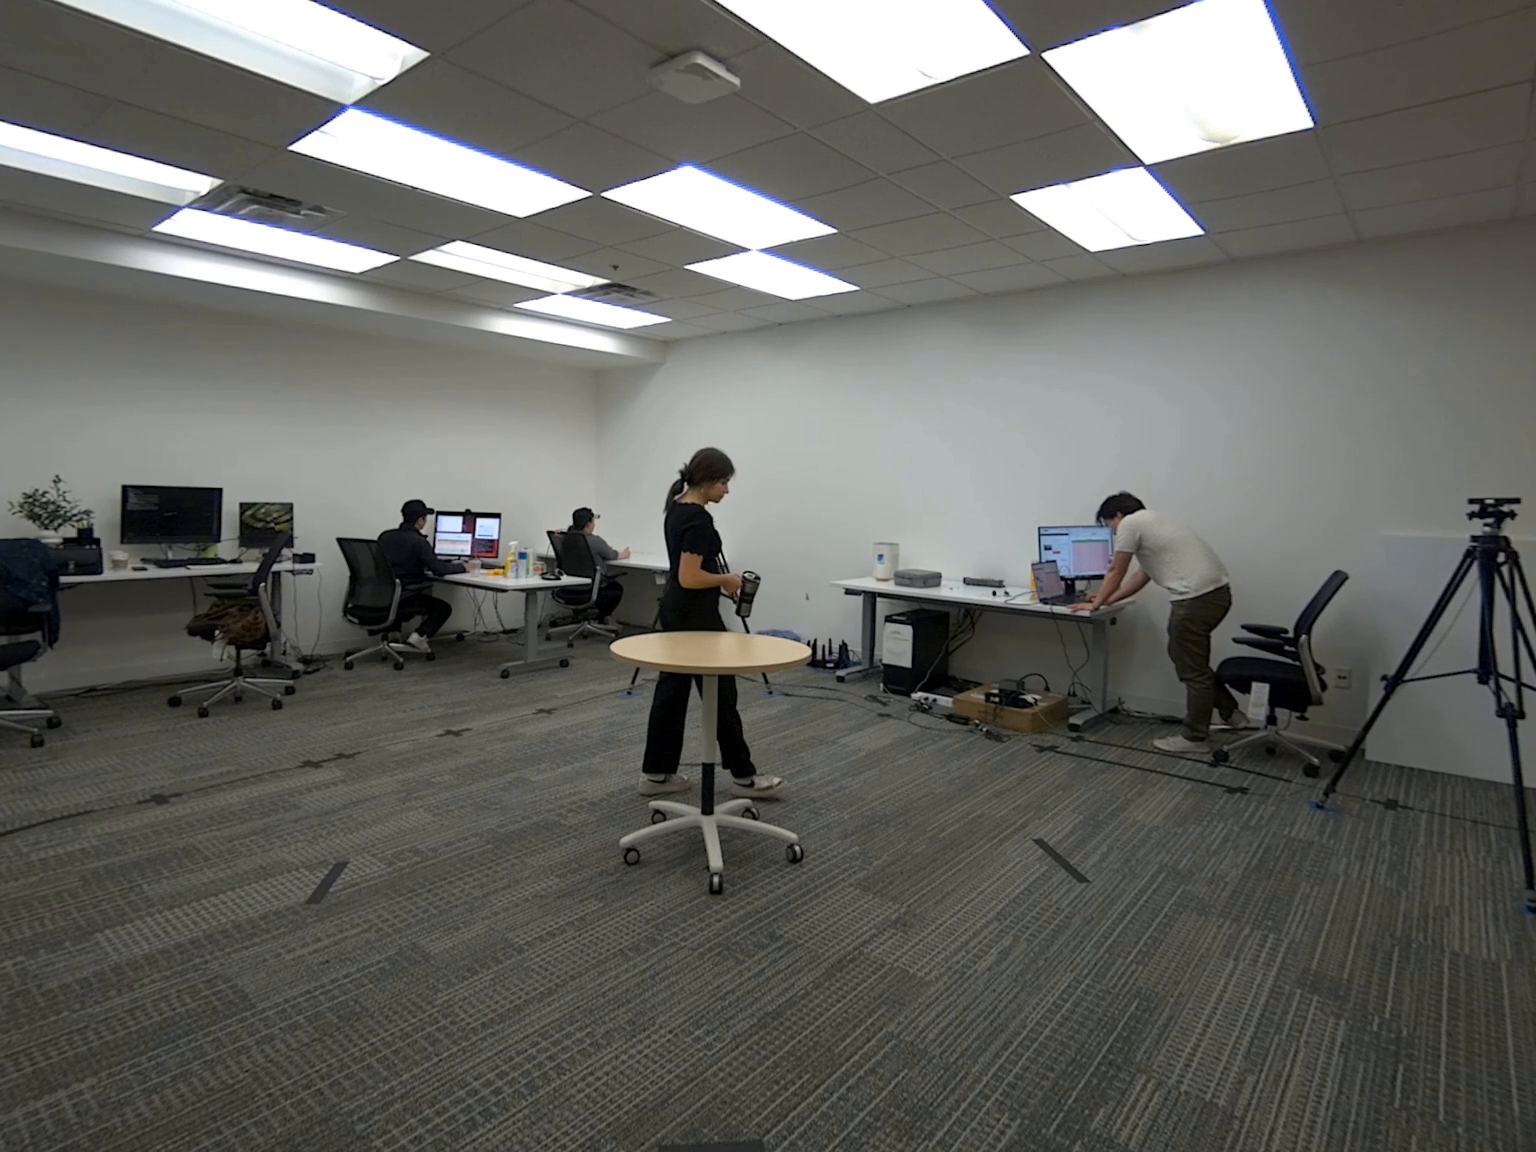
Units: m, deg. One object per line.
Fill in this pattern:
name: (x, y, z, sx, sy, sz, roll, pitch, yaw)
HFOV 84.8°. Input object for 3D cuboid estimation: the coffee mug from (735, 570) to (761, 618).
coffee mug: (-0.117, 0.077, 3.869, 0.127, 0.200, 0.086, 31, 29, 32)
